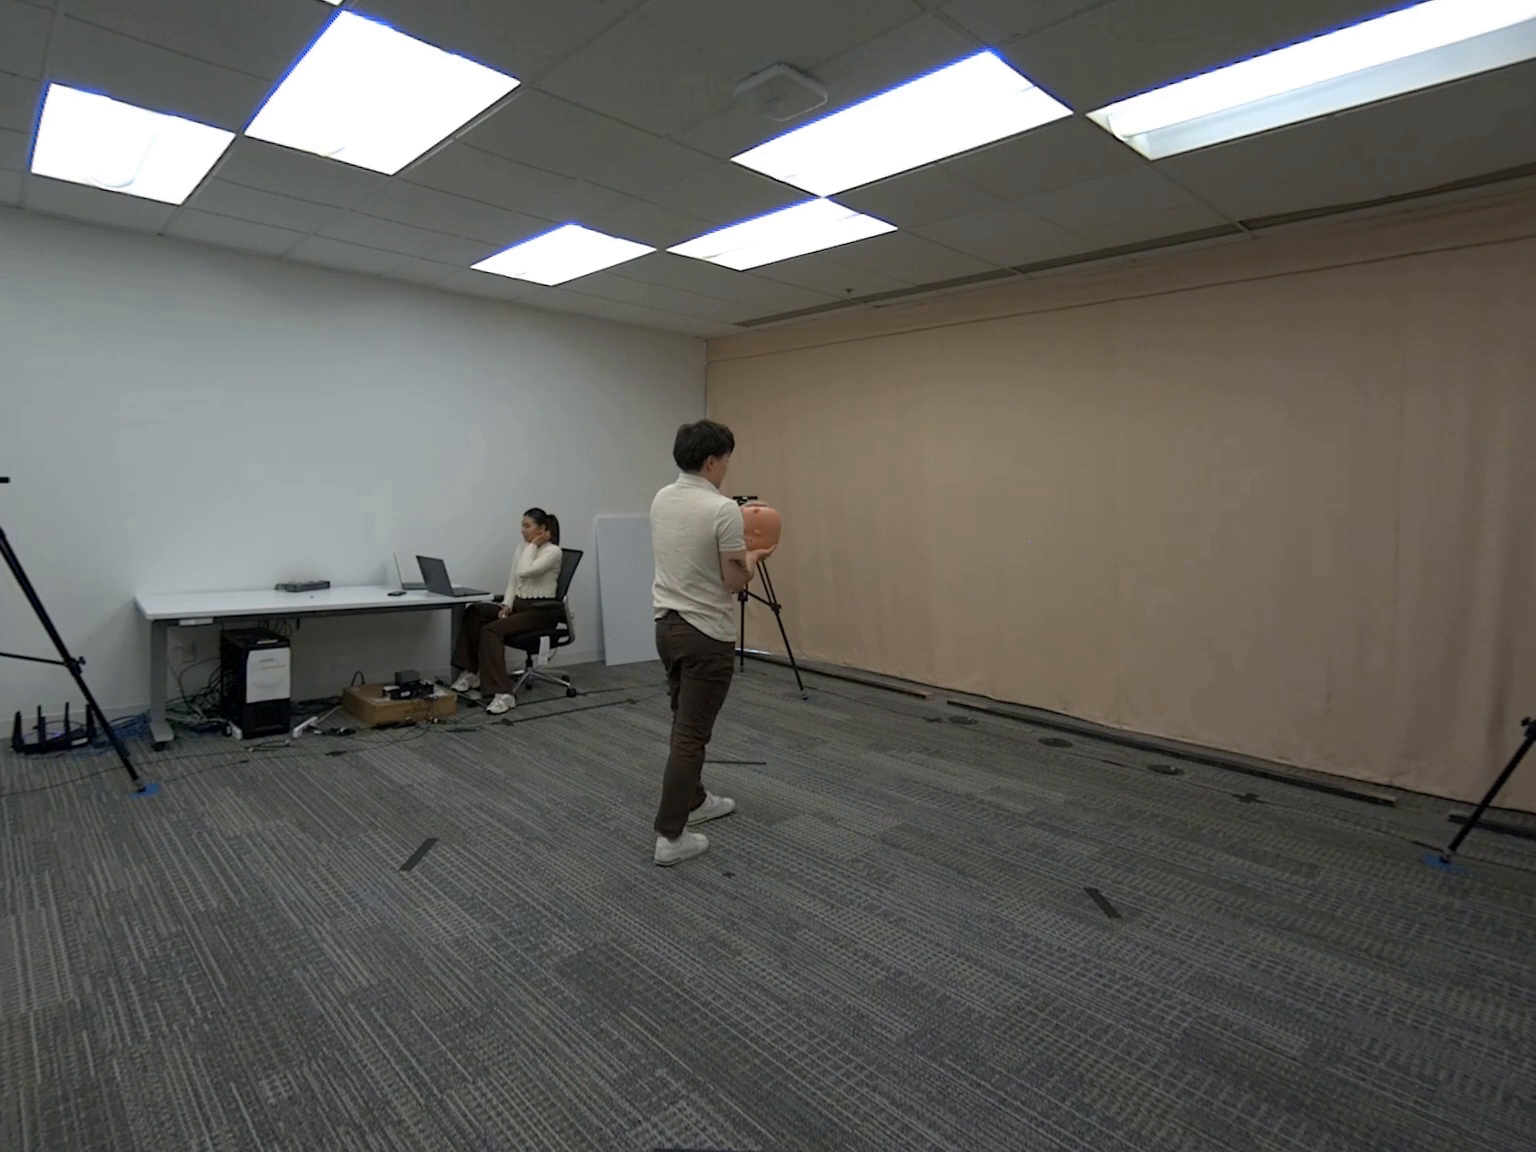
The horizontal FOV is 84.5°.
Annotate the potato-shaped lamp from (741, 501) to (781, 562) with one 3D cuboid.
[{"bbox_3d":[-0.048,-0.190,3.492,0.167,0.198,0.169,4,2,-40],"label":"potato-shaped lamp"}]
